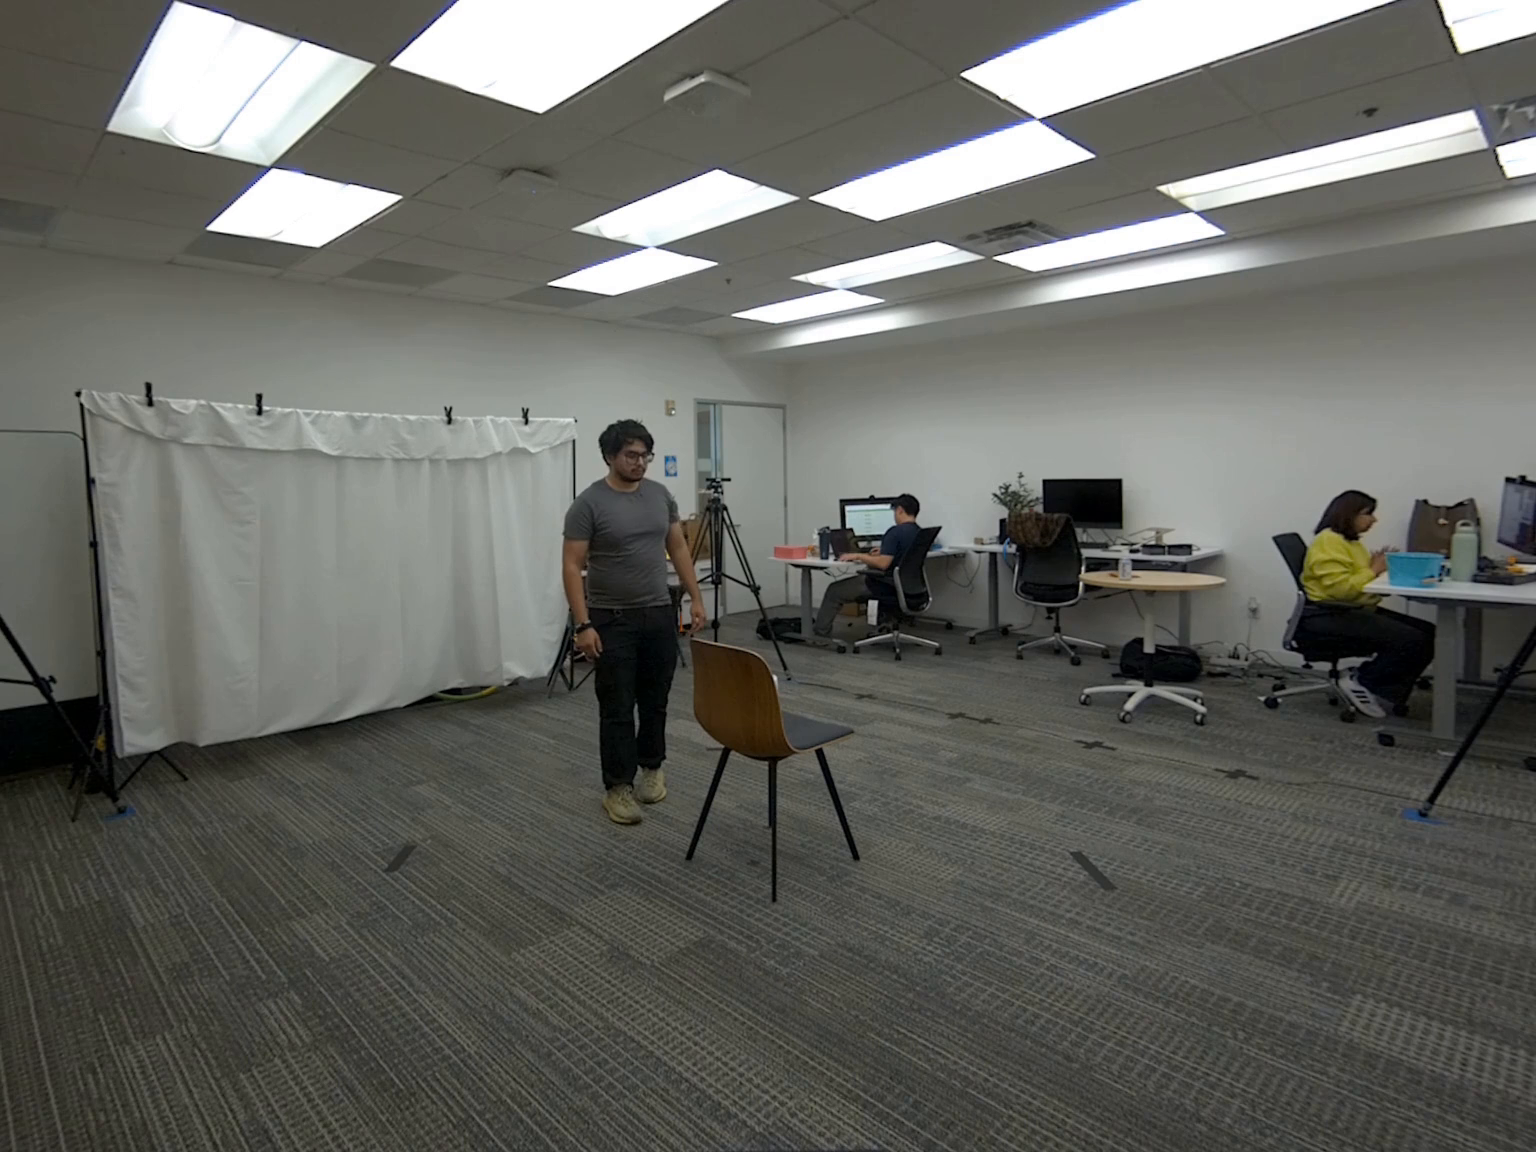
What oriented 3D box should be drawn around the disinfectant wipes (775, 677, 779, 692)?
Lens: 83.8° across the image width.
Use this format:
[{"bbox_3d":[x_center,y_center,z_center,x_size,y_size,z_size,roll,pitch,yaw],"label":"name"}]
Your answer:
[{"bbox_3d":[-0.013,0.469,3.057,0.118,0.216,0.118,-3,5,-1],"label":"disinfectant wipes"}]
